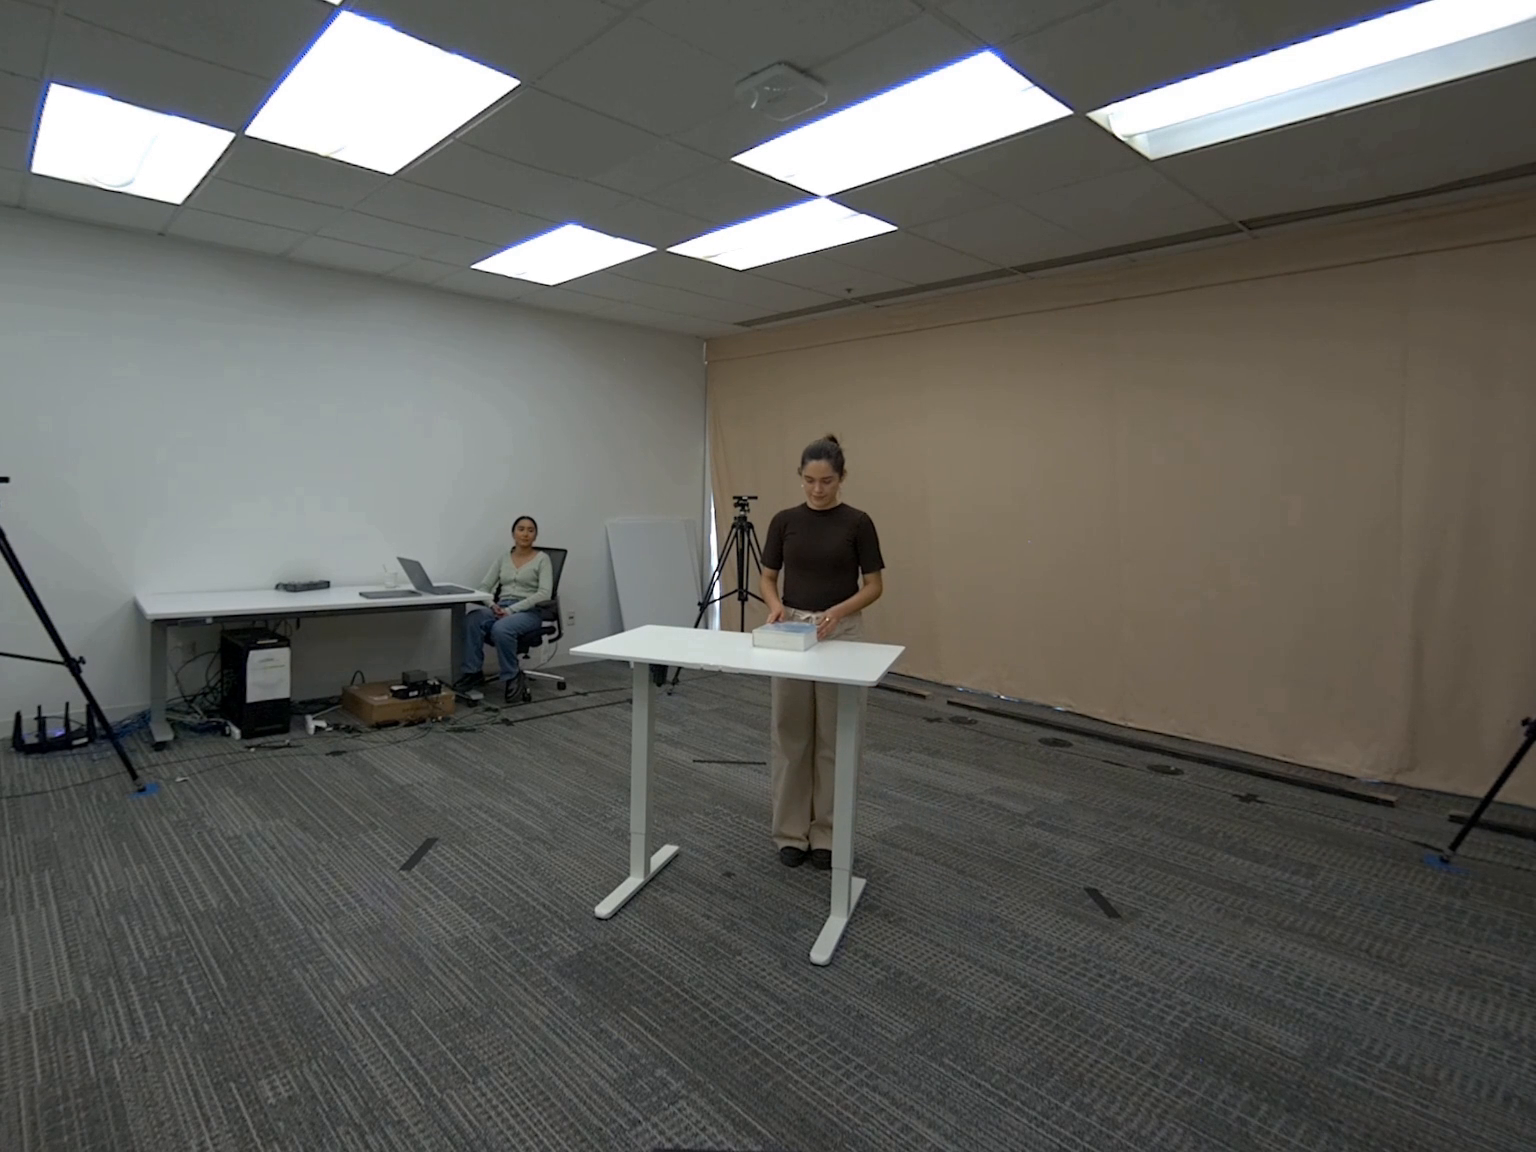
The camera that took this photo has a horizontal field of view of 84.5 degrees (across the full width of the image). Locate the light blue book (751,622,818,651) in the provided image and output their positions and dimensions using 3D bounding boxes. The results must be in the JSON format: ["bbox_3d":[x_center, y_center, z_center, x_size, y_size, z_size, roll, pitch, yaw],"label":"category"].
[{"bbox_3d":[0.065,0.212,2.963,0.194,0.059,0.258,5,5,16],"label":"light blue book"}]
